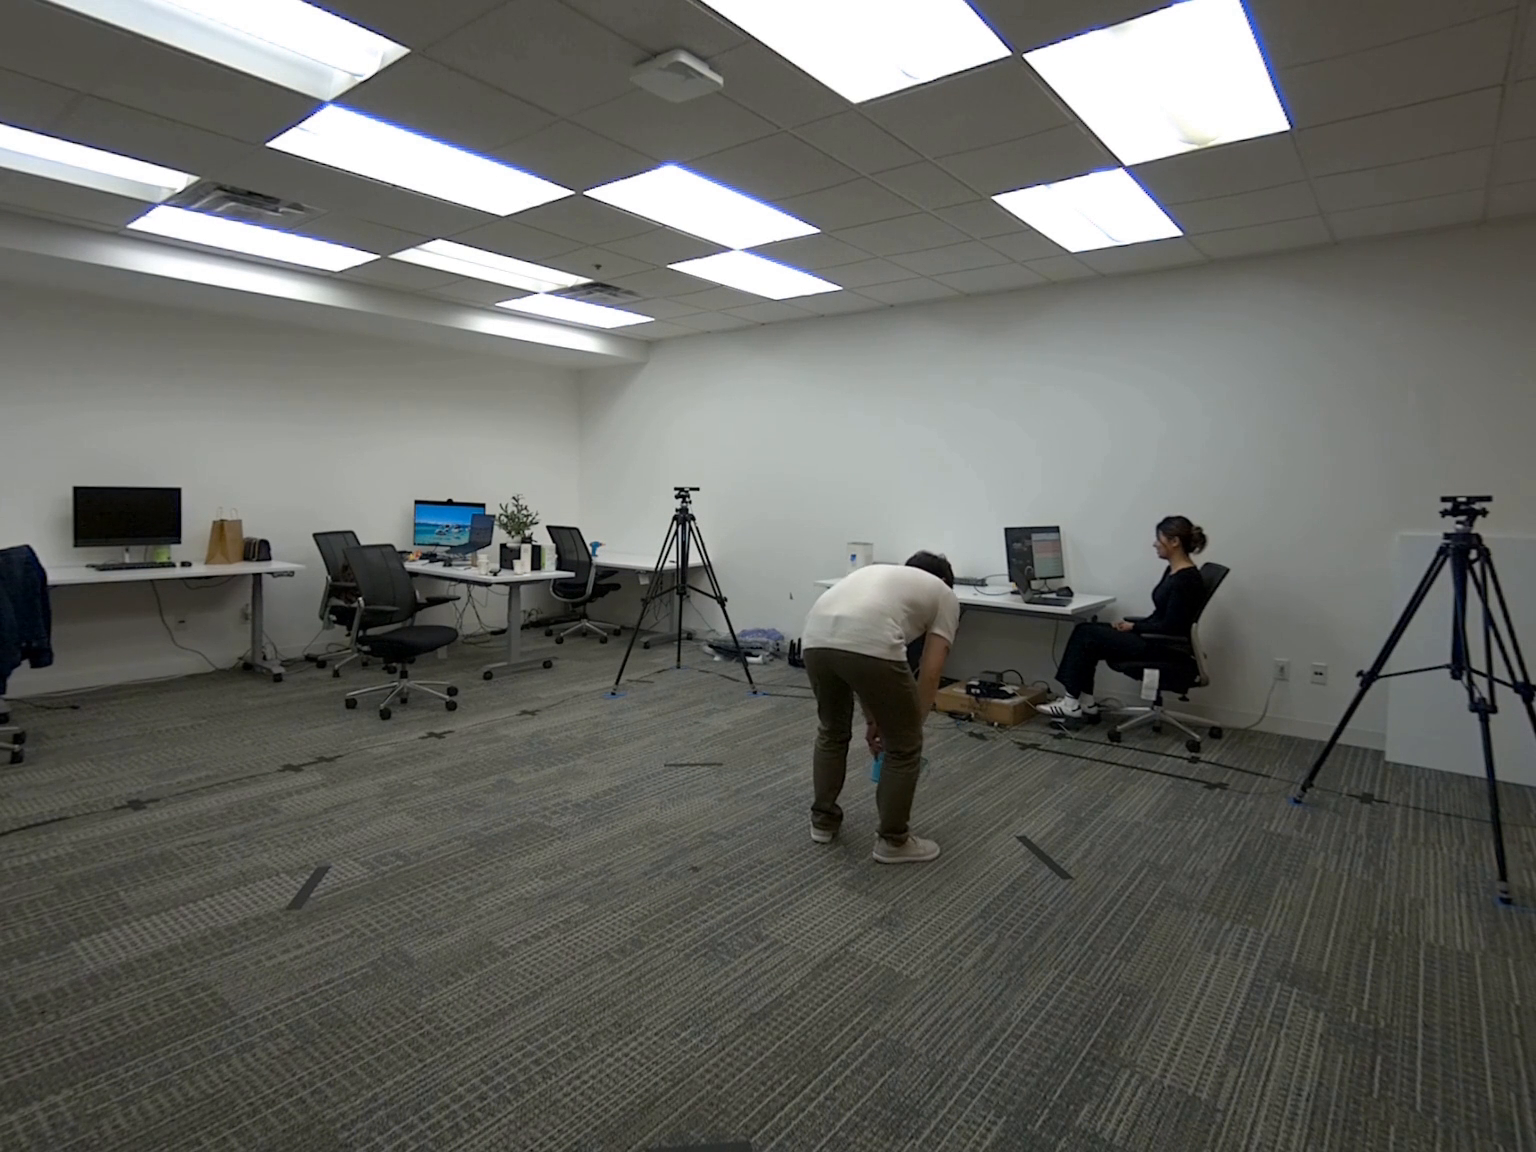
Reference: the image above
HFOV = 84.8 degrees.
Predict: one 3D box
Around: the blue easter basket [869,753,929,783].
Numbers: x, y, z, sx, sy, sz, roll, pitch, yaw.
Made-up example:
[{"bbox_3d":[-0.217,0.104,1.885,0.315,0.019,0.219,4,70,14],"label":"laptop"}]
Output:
[{"bbox_3d":[0.518,0.780,3.476,0.245,0.157,0.241,19,-12,2],"label":"blue easter basket"}]
